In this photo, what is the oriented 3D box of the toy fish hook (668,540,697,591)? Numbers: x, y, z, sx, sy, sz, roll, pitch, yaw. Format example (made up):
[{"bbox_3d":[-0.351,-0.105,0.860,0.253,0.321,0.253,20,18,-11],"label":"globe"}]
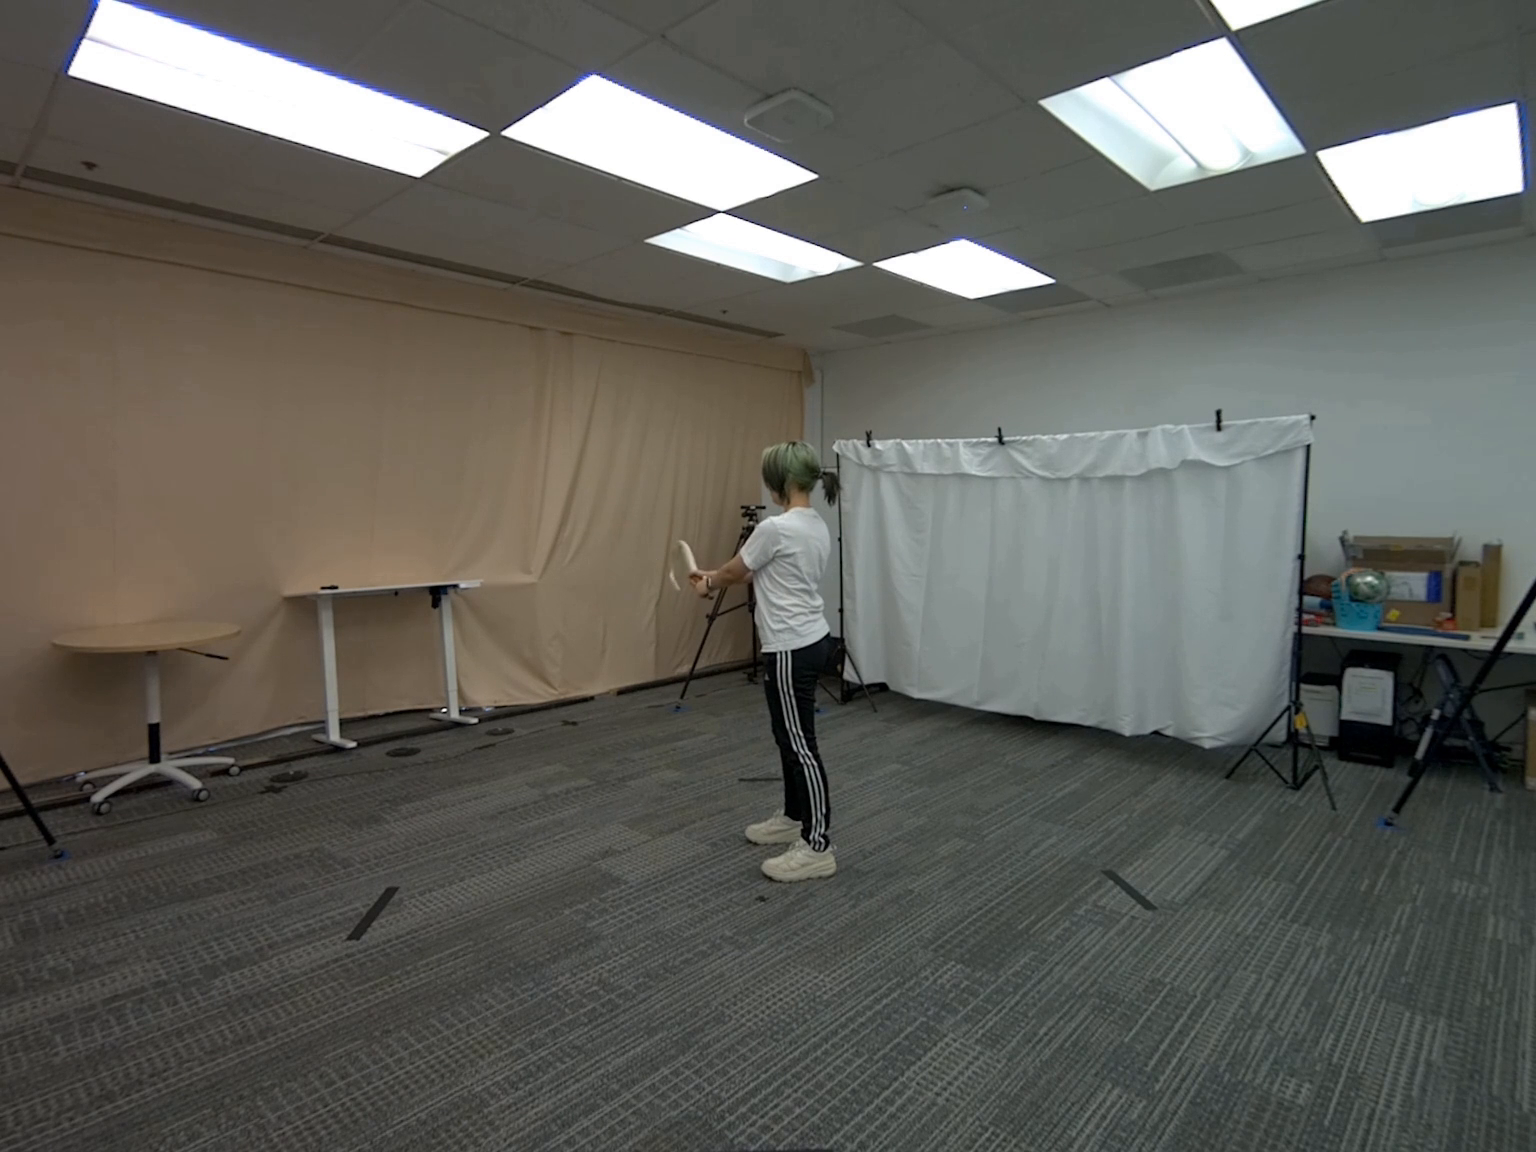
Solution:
[{"bbox_3d":[-0.361,0.022,3.760,0.047,0.223,0.523,5,26,-27],"label":"toy fish hook"}]
